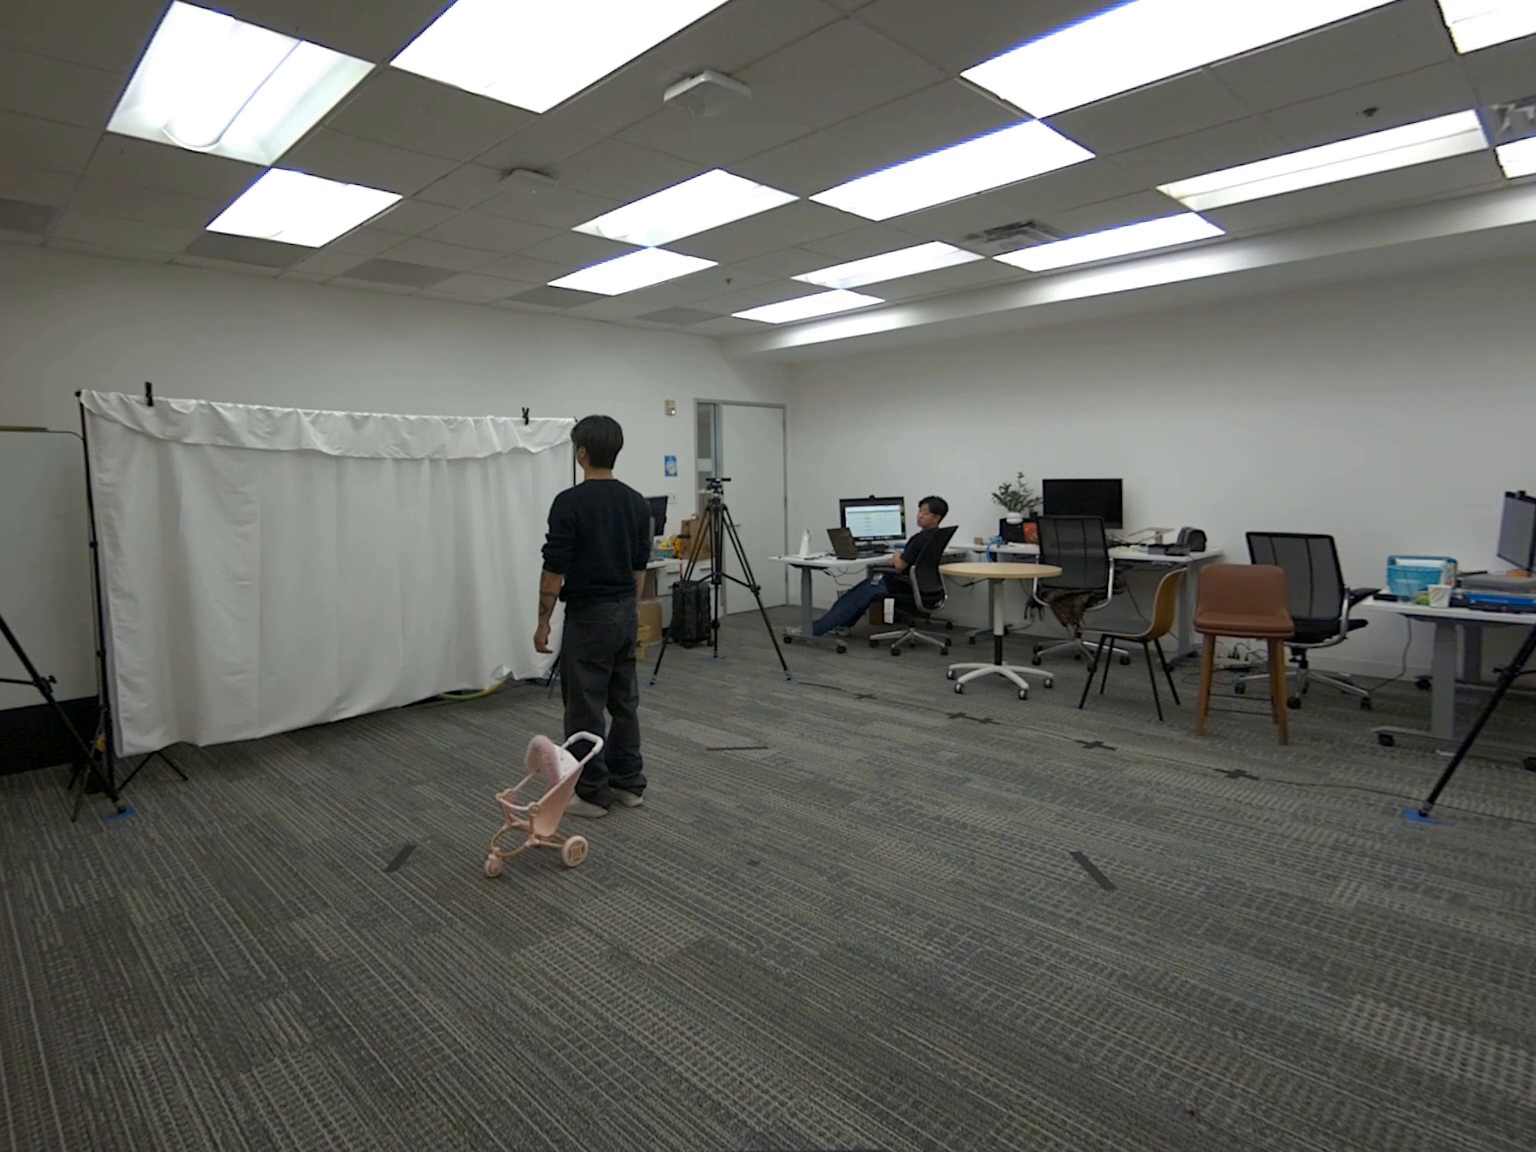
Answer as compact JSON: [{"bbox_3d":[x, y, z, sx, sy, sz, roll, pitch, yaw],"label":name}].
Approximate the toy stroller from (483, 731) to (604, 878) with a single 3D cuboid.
[{"bbox_3d":[-0.843,0.831,3.151,0.330,0.537,0.290,16,-8,-37],"label":"toy stroller"}]
